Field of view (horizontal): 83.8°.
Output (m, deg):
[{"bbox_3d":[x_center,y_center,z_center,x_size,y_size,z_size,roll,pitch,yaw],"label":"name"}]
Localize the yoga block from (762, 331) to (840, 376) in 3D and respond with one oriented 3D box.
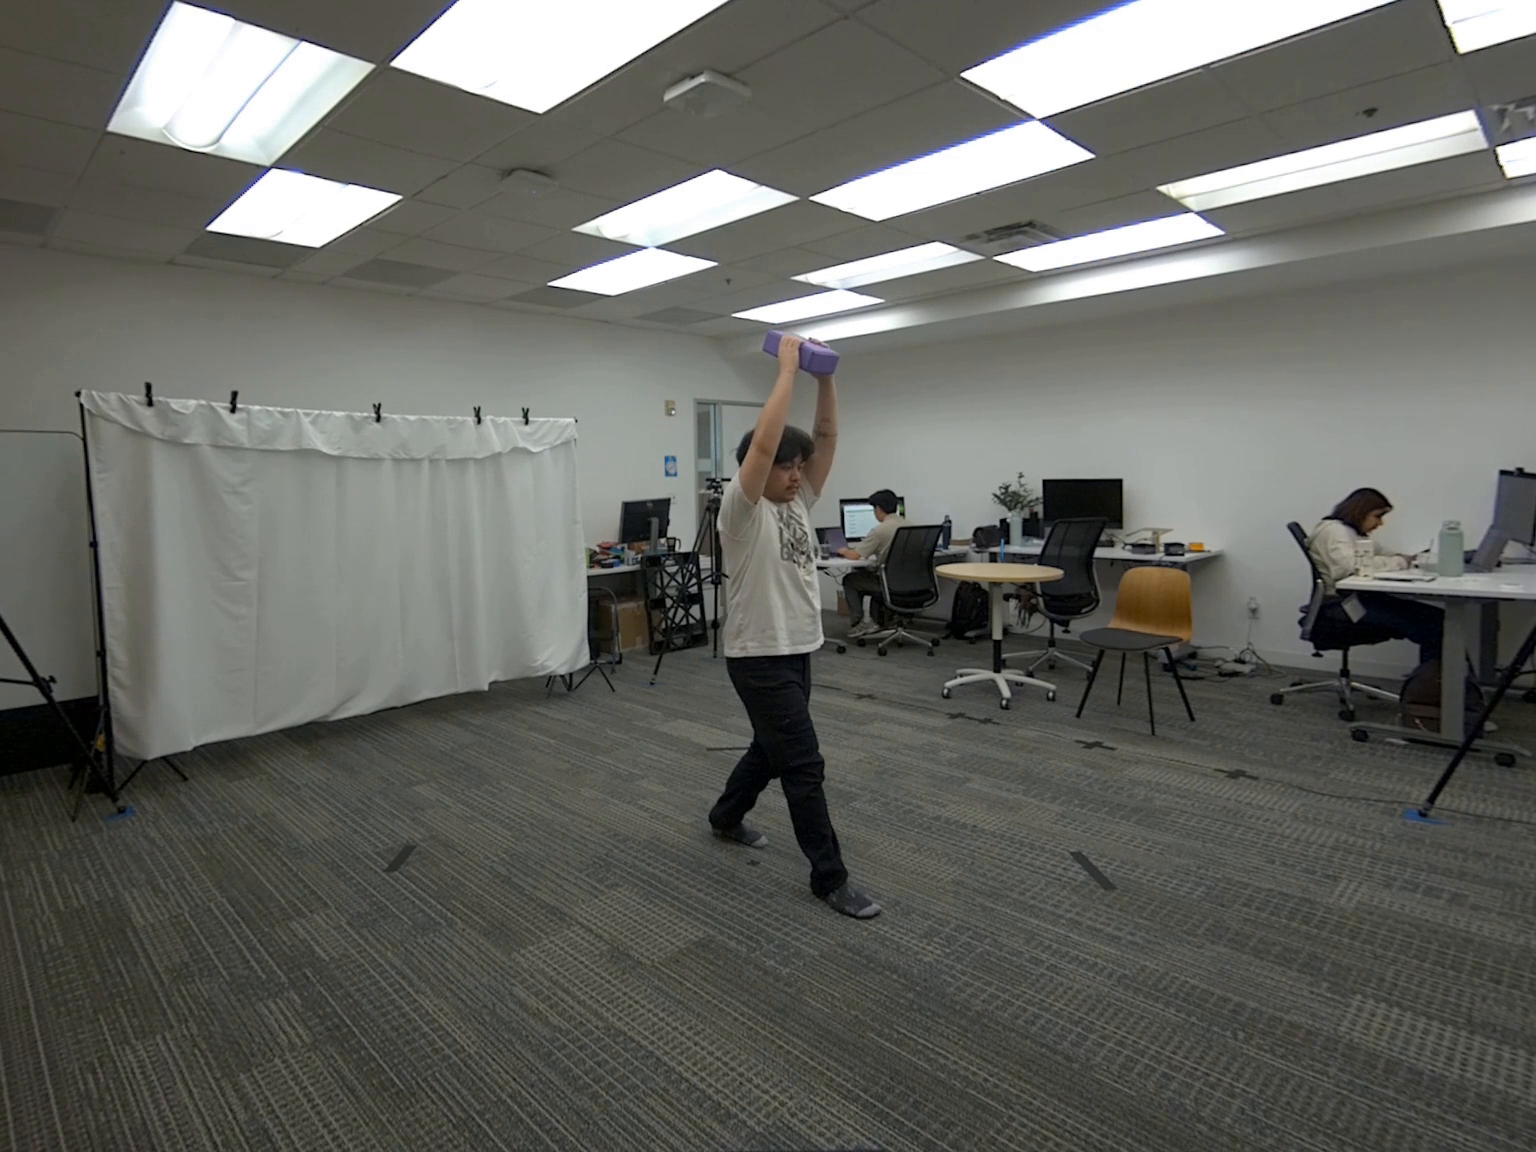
[{"bbox_3d":[0.115,-0.759,2.904,0.145,0.075,0.238,-7,33,-47],"label":"yoga block"}]
